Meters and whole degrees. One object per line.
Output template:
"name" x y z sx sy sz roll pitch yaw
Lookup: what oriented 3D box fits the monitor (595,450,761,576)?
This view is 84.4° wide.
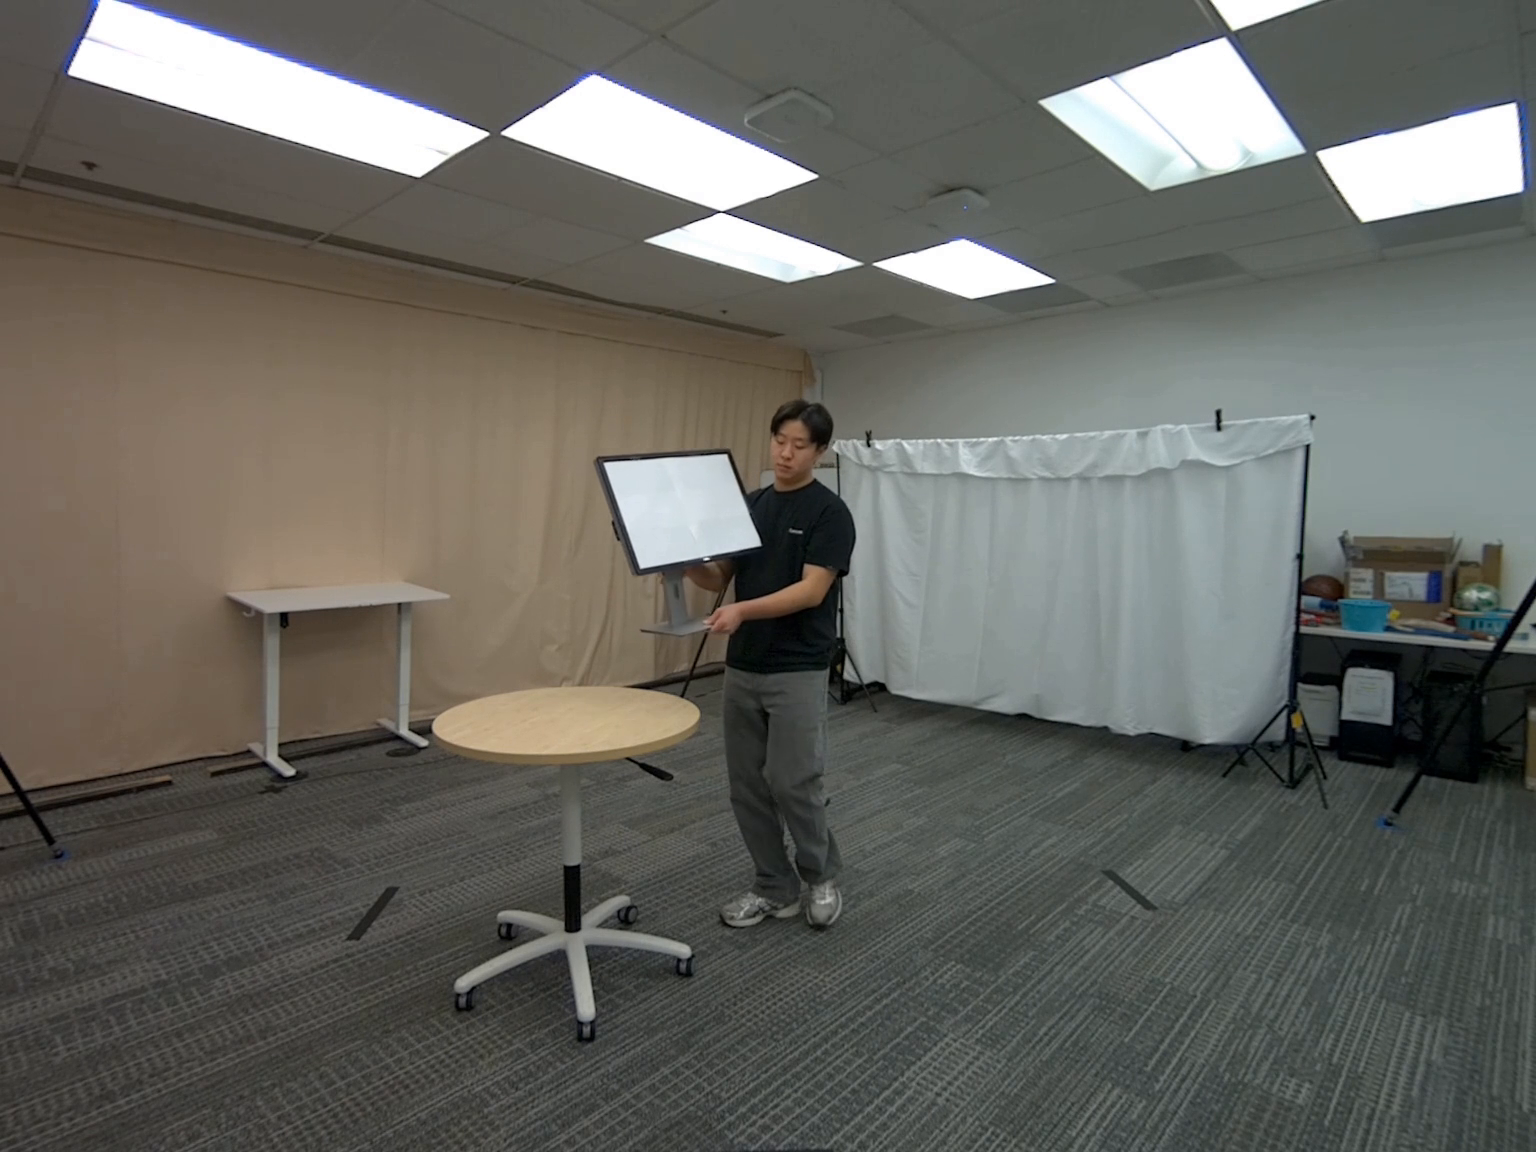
"monitor" -0.265 -0.100 2.595 0.229 0.564 0.546 -3 6 45
